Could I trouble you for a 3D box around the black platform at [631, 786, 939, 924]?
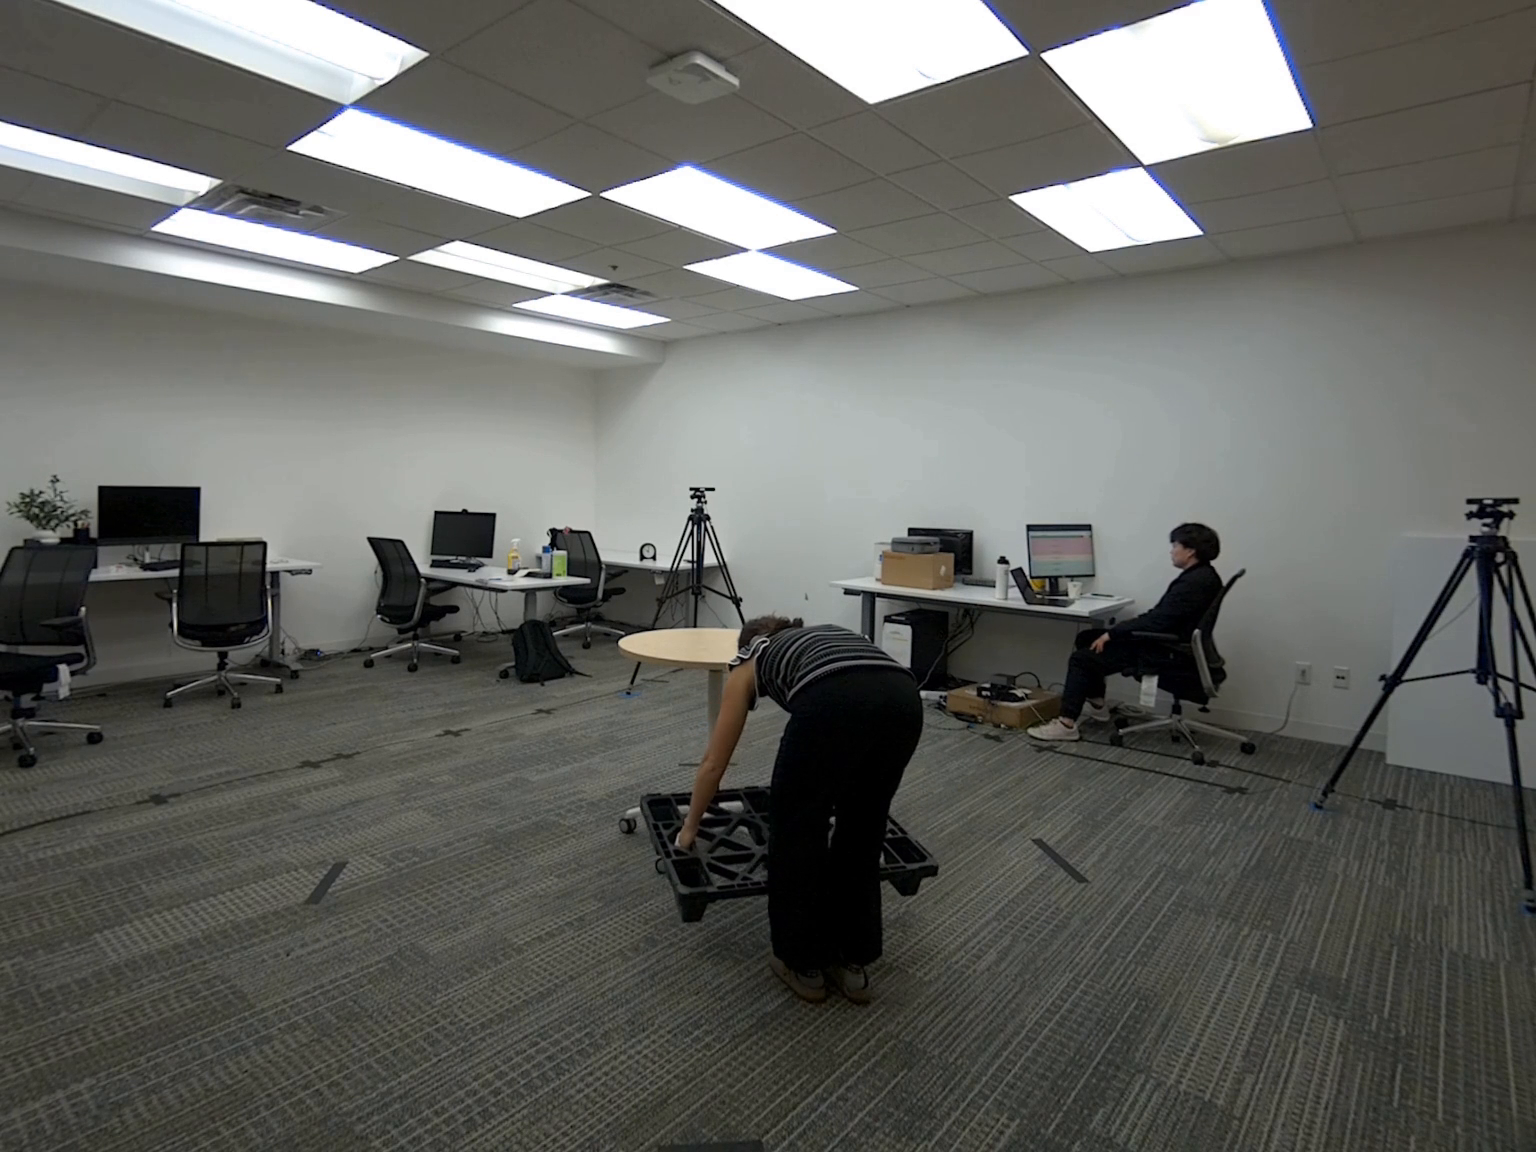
[{"bbox_3d":[0.023,0.857,2.707,0.792,0.142,0.621,0,11,-17],"label":"black platform"}]
